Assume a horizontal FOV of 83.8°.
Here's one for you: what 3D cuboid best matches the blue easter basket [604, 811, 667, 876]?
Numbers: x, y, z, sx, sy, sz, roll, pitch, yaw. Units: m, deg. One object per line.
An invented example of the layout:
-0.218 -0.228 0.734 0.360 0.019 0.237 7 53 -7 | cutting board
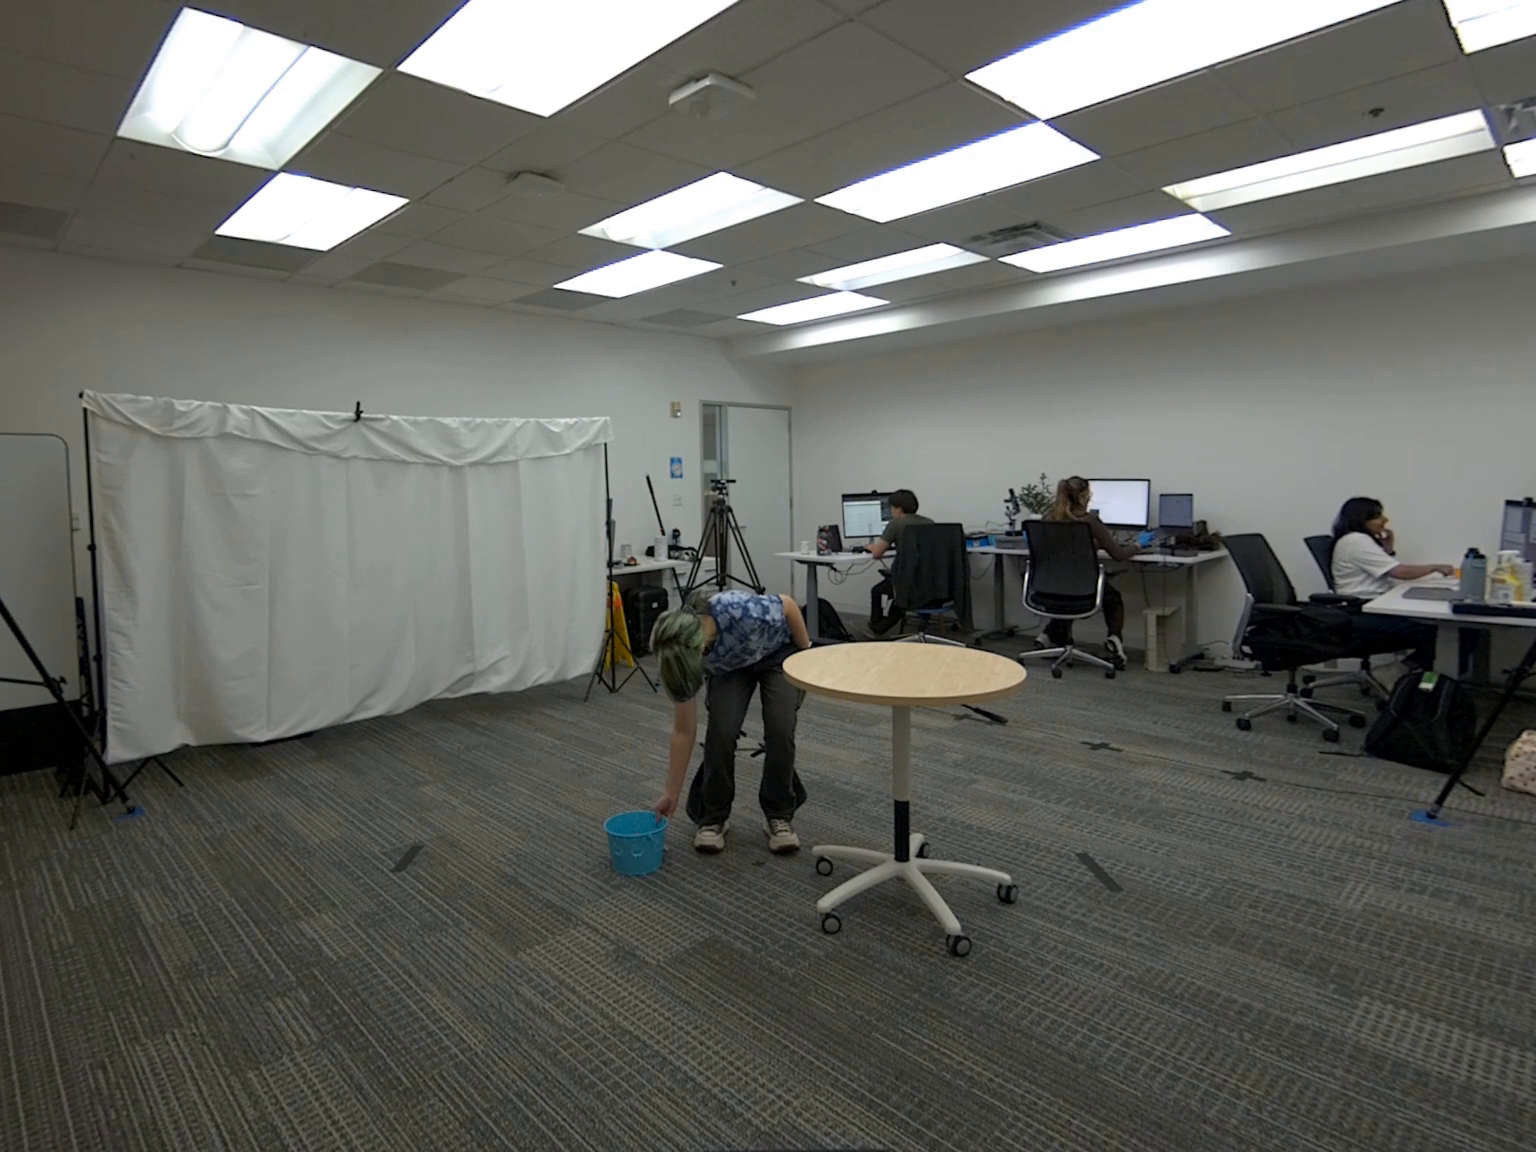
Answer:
-0.474 0.975 3.118 0.243 0.155 0.245 -2 5 -2 | blue easter basket
